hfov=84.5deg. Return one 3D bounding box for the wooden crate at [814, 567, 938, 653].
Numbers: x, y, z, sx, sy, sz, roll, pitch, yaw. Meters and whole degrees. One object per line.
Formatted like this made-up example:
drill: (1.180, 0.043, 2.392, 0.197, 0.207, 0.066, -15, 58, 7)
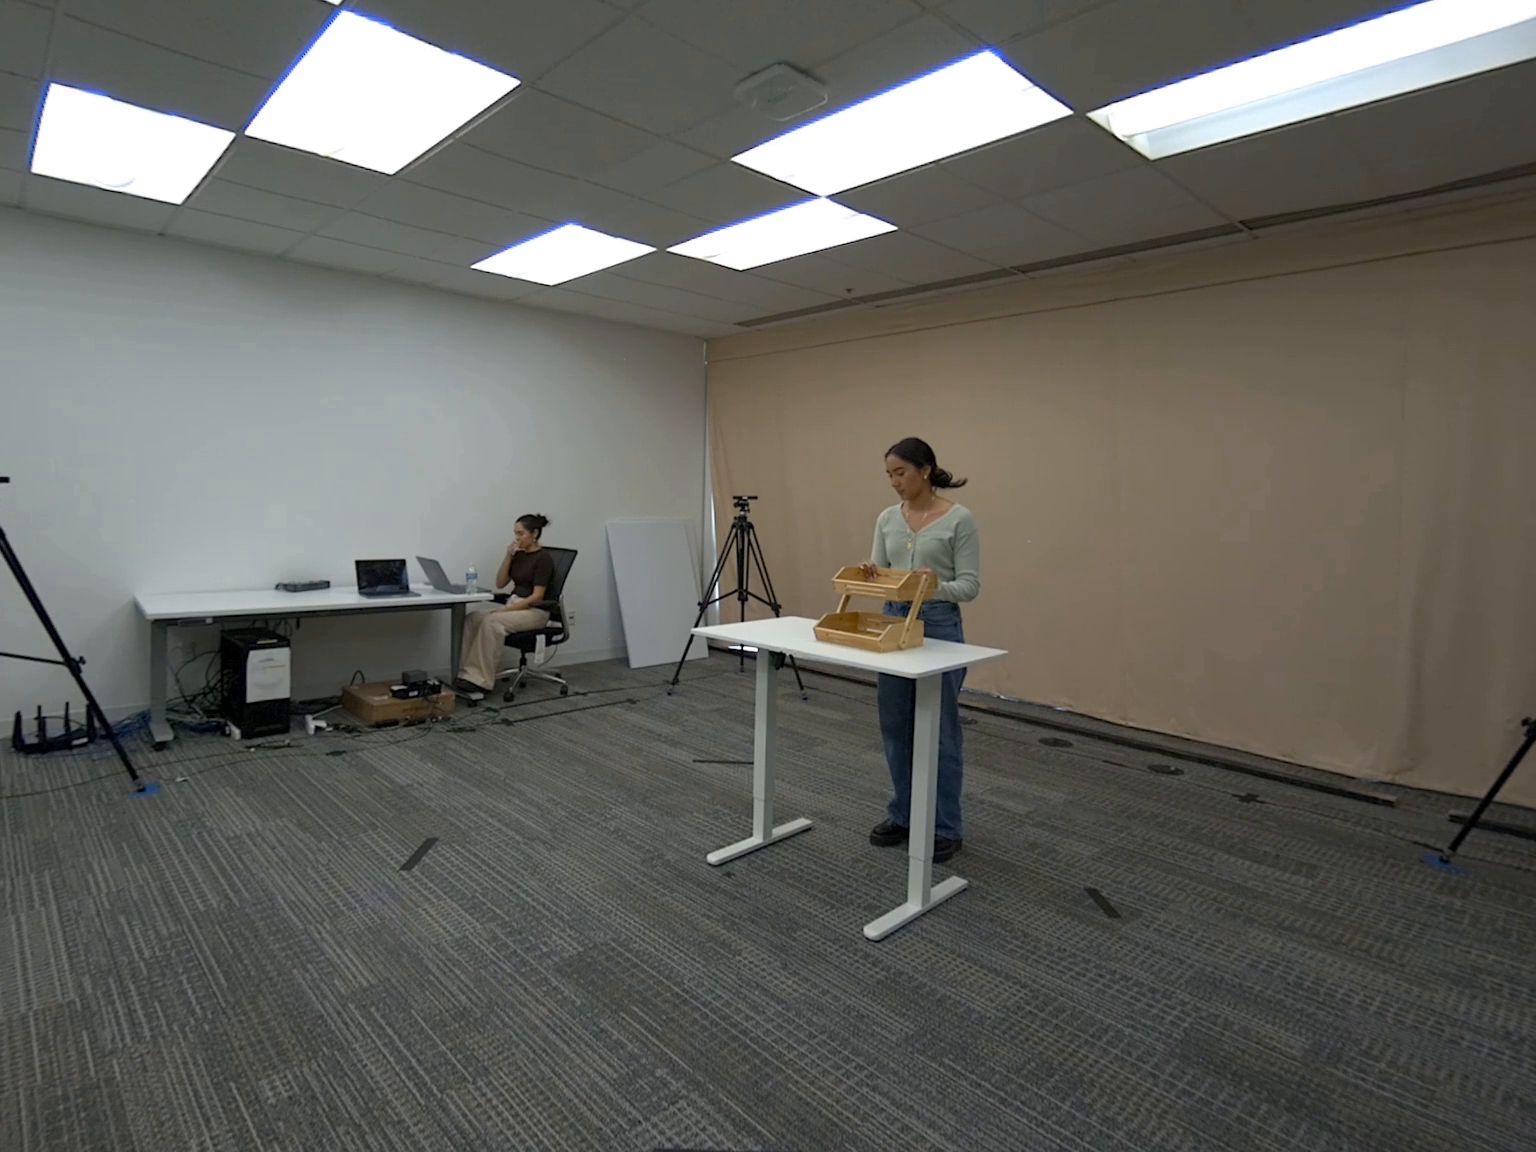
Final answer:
wooden crate: (0.371, 0.110, 3.018, 0.295, 0.272, 0.333, -2, 6, -43)
